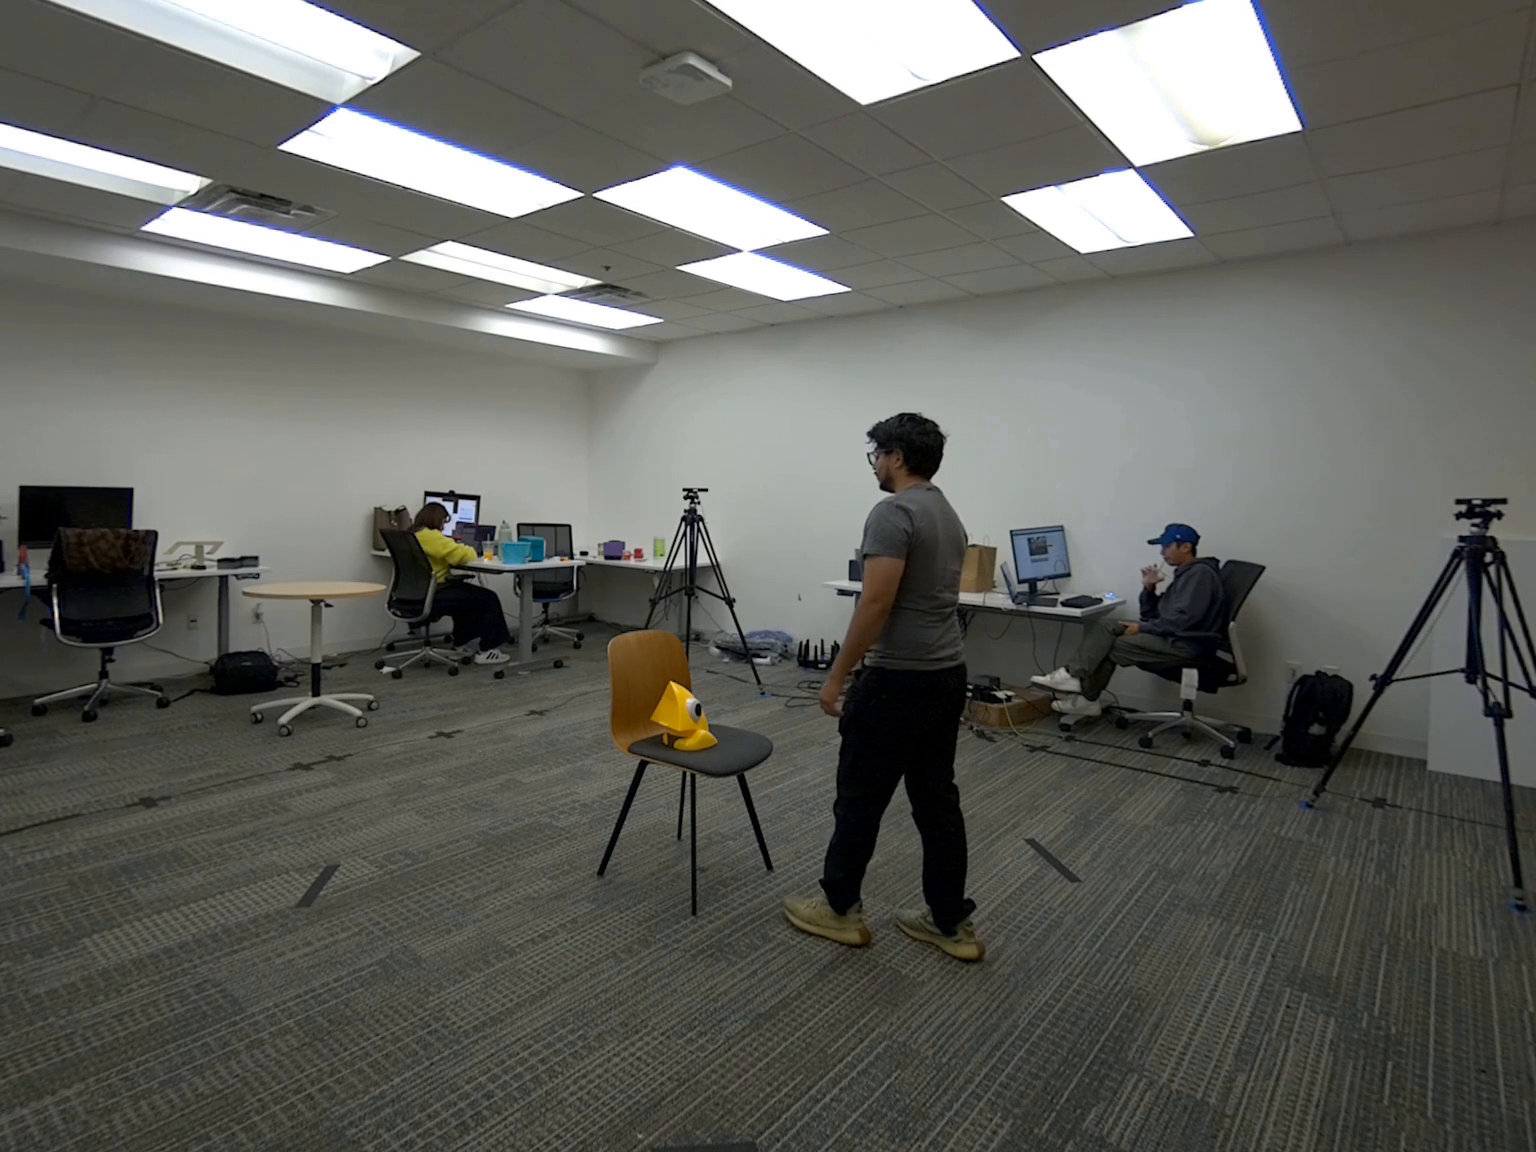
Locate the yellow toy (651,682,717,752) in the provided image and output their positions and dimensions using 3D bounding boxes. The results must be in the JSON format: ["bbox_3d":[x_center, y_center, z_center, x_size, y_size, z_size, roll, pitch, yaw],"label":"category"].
[{"bbox_3d":[-0.308,0.484,3.069,0.187,0.230,0.211,-3,2,-36],"label":"yellow toy"}]
